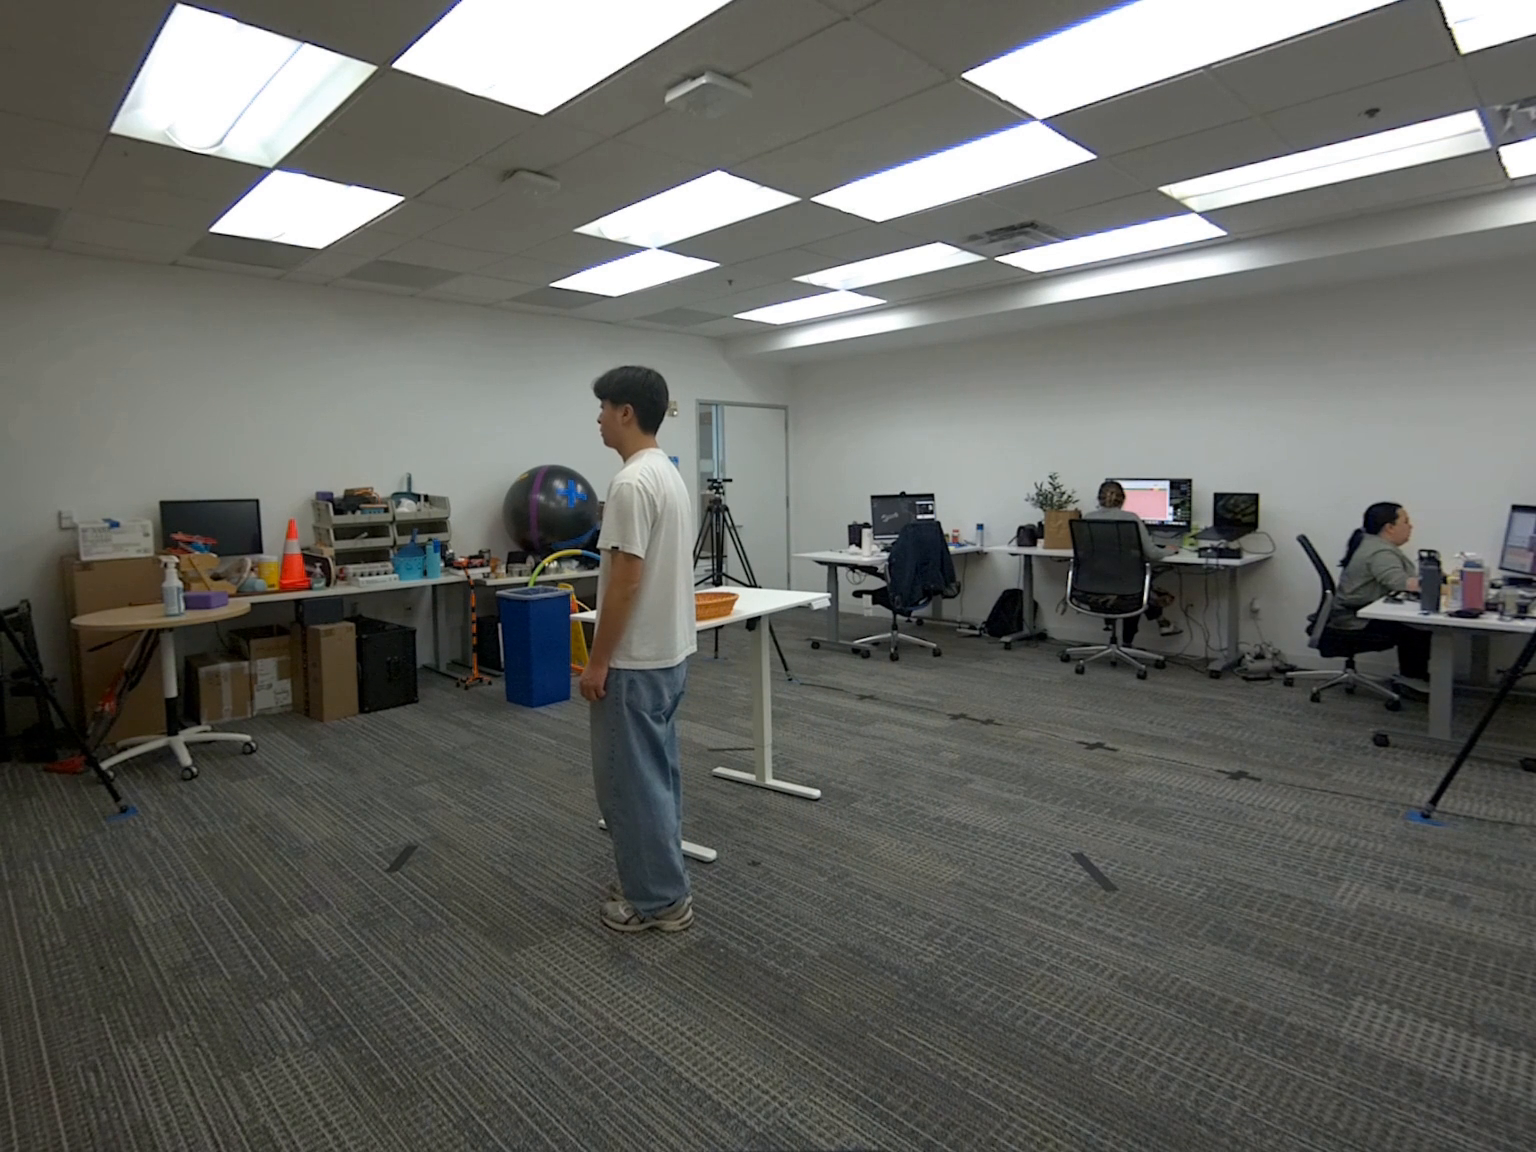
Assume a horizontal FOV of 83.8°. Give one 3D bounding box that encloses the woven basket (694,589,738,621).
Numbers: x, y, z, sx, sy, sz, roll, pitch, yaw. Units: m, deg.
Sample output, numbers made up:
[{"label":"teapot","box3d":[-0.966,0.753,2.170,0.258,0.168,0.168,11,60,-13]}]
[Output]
[{"label":"woven basket","box3d":[-0.258,0.122,3.250,0.260,0.073,0.341,4,9,43]}]
